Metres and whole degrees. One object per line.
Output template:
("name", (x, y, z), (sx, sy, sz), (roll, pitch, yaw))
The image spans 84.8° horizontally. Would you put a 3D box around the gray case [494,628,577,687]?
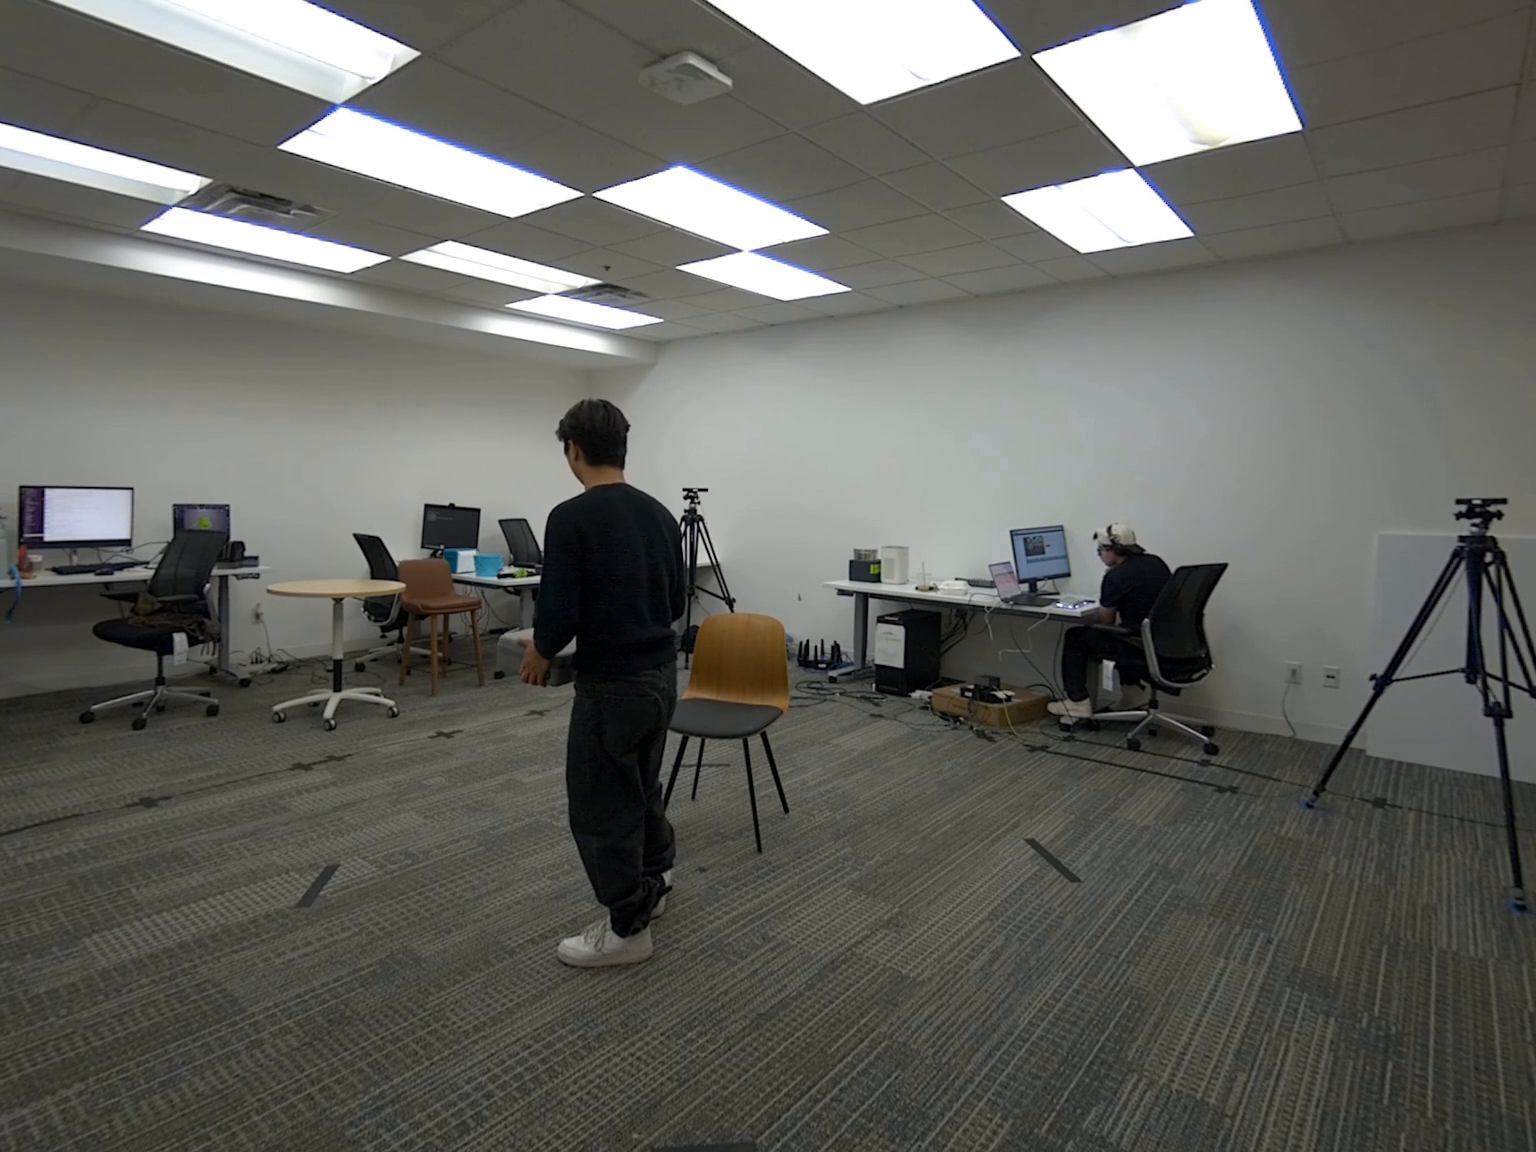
("gray case", (-0.686, 0.245, 2.665), (0.268, 0.103, 0.252), (14, 11, 22))
